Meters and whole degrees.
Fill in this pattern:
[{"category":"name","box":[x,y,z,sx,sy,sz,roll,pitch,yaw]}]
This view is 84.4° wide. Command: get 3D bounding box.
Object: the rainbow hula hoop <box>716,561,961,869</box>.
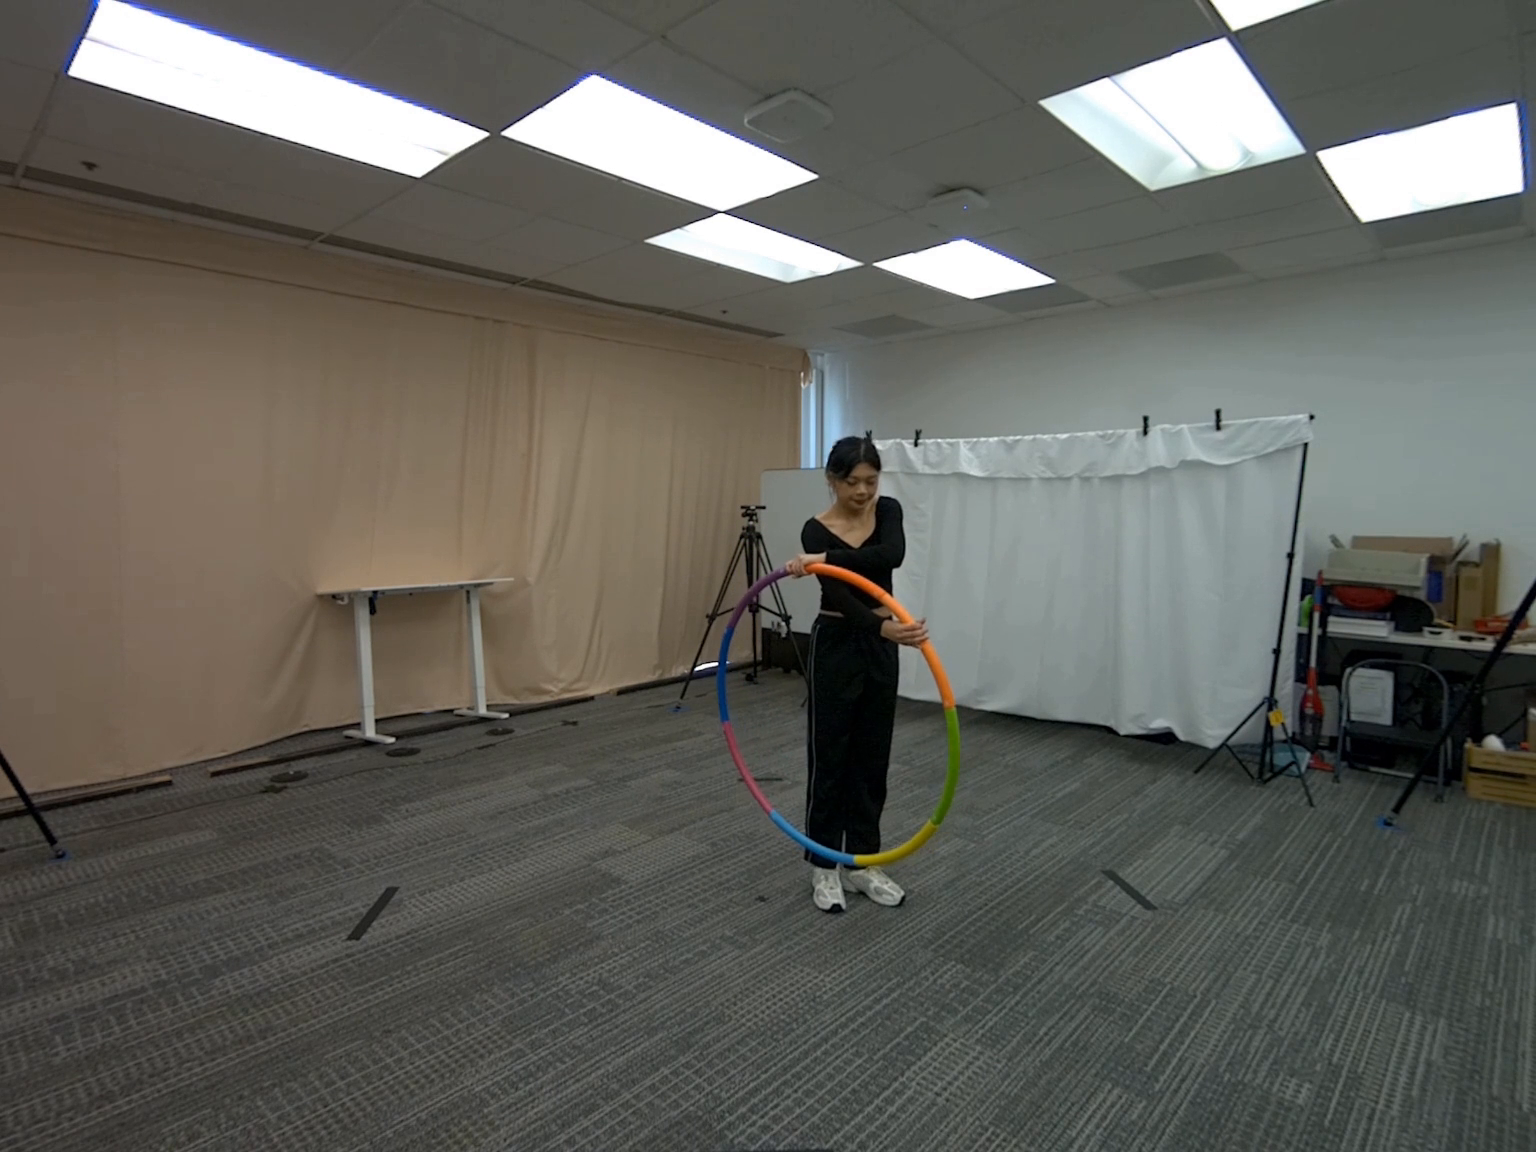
[{"category":"rainbow hula hoop","box":[0.190,0.440,2.758,1.011,0.974,0.034,4,9,44]}]
